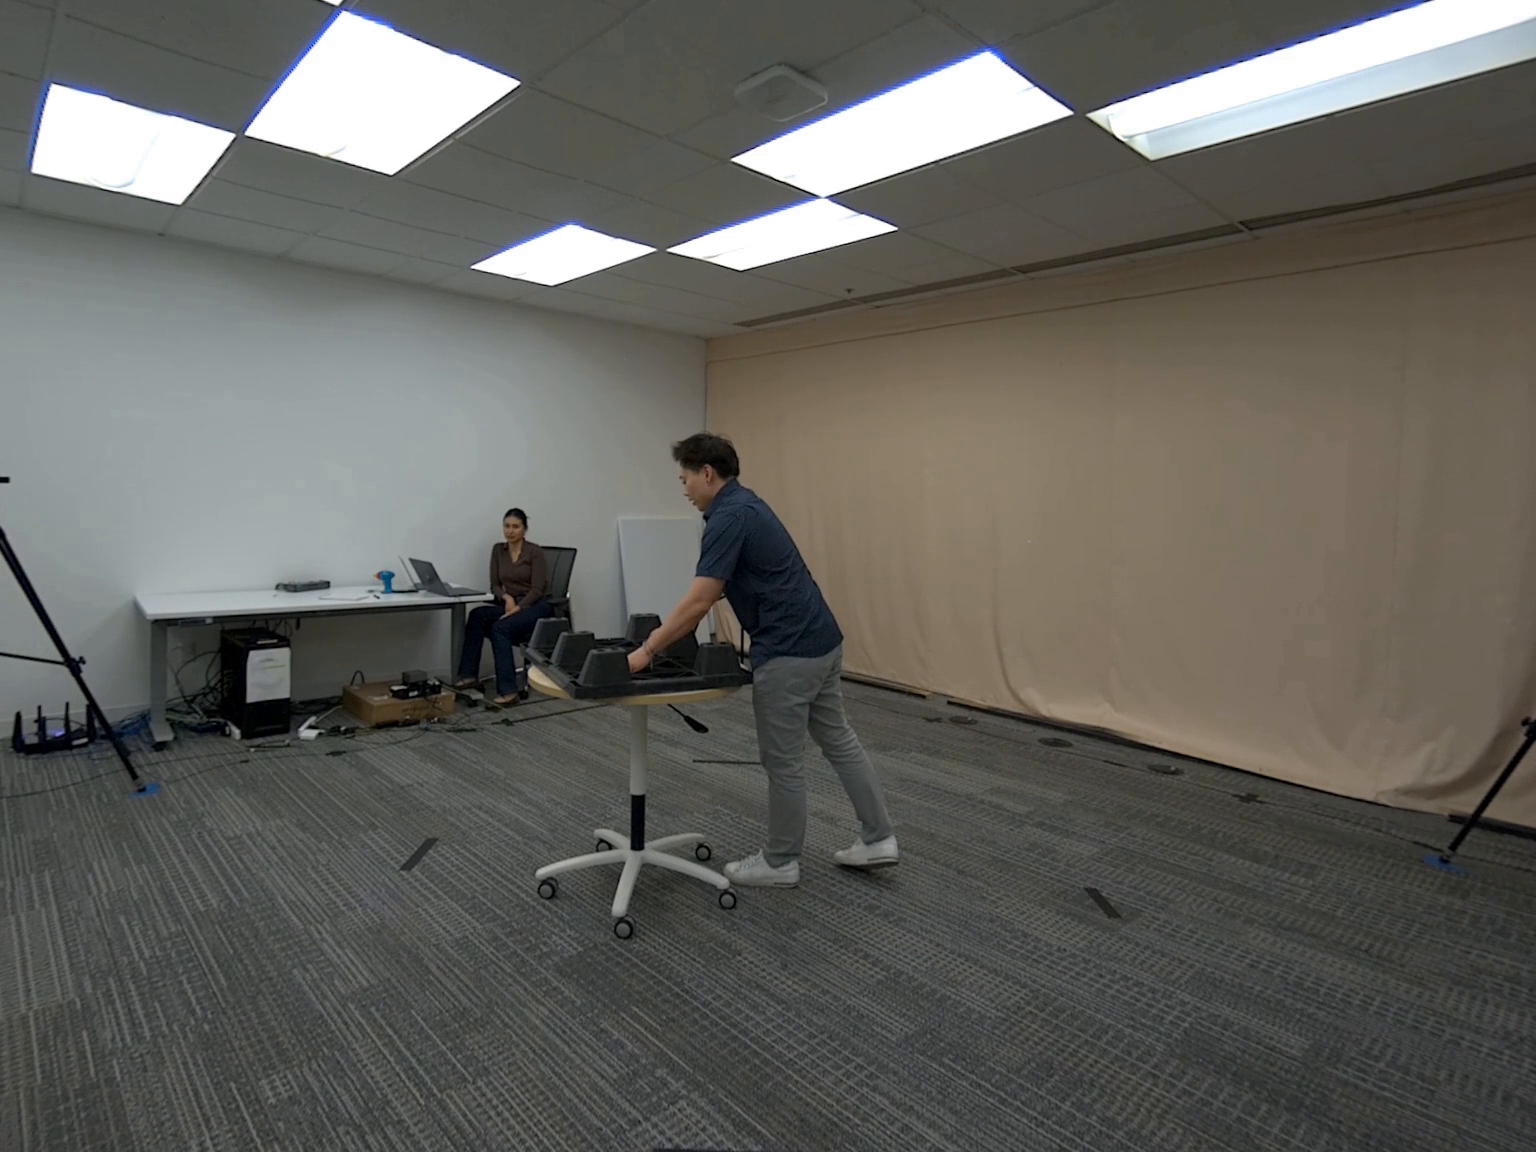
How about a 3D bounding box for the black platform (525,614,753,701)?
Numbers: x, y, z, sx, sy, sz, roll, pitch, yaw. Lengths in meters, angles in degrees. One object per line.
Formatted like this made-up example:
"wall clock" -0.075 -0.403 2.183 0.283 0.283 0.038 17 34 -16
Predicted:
"black platform" -0.504 0.260 2.961 0.593 0.143 0.823 -1 6 -28
